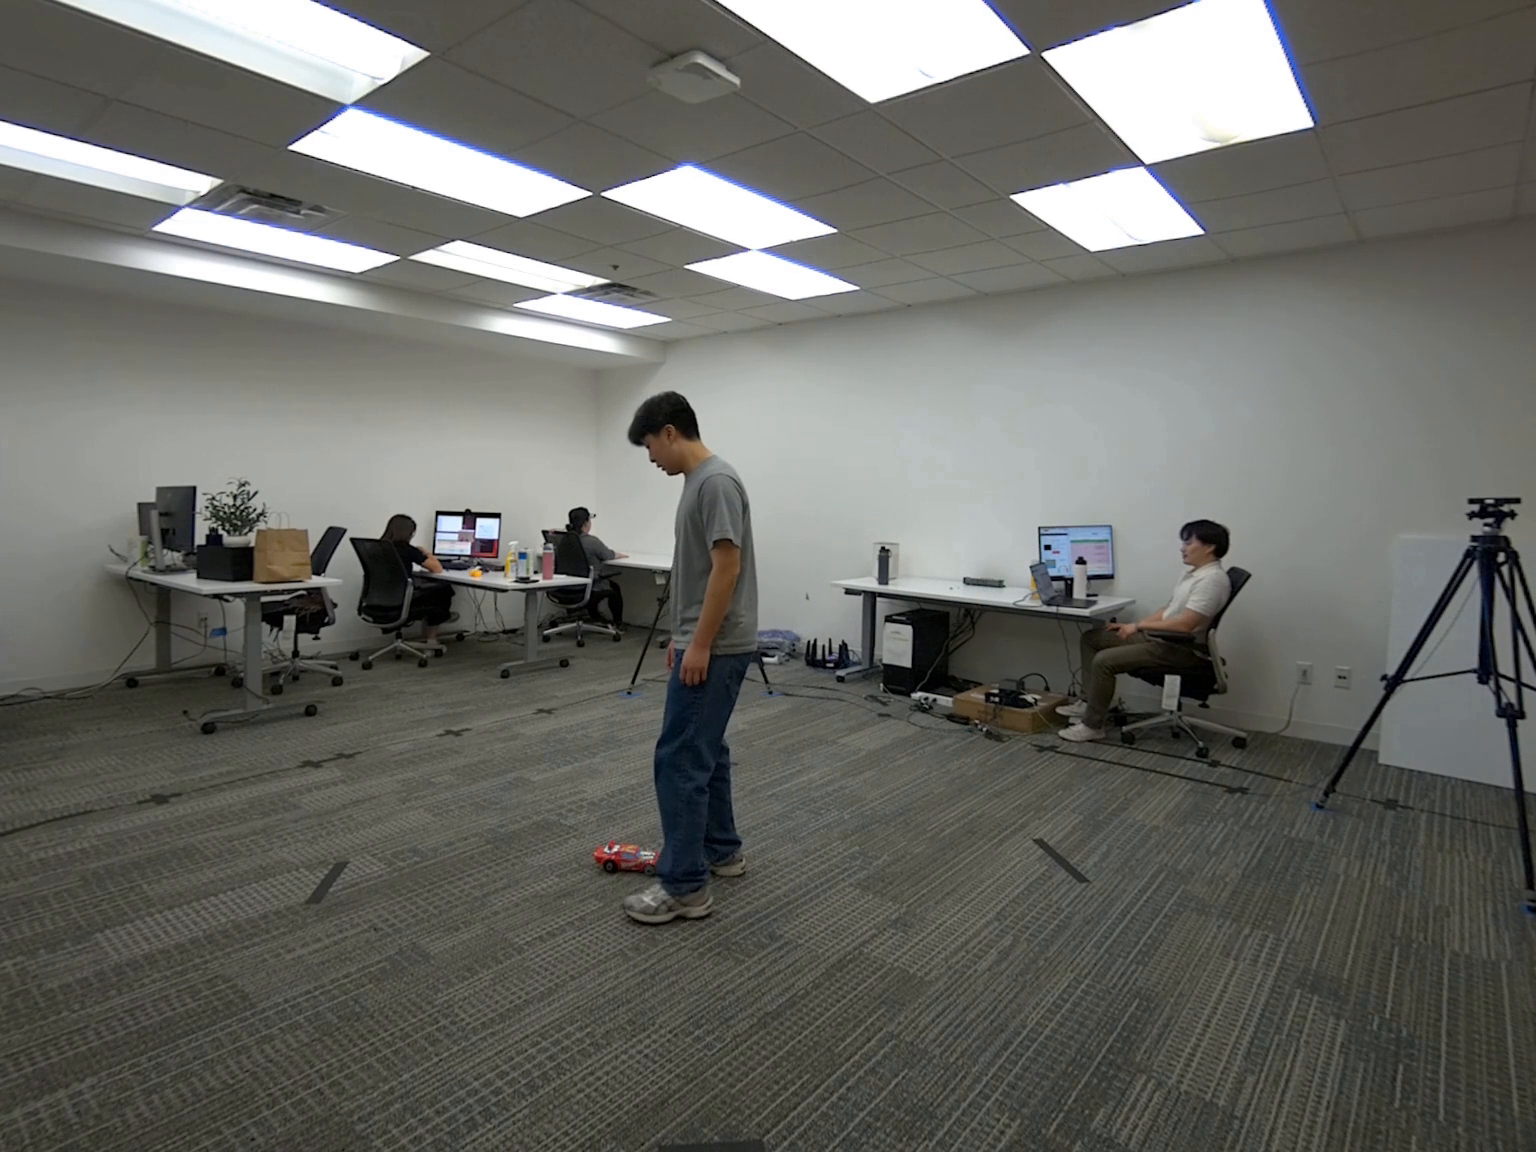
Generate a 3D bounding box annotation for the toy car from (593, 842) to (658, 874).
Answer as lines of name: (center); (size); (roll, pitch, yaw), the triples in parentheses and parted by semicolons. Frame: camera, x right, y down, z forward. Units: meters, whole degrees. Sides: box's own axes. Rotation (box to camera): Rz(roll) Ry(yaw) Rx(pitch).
toy car: (-0.530, 1.030, 3.109); (0.256, 0.083, 0.130); (14, 6, 3)
